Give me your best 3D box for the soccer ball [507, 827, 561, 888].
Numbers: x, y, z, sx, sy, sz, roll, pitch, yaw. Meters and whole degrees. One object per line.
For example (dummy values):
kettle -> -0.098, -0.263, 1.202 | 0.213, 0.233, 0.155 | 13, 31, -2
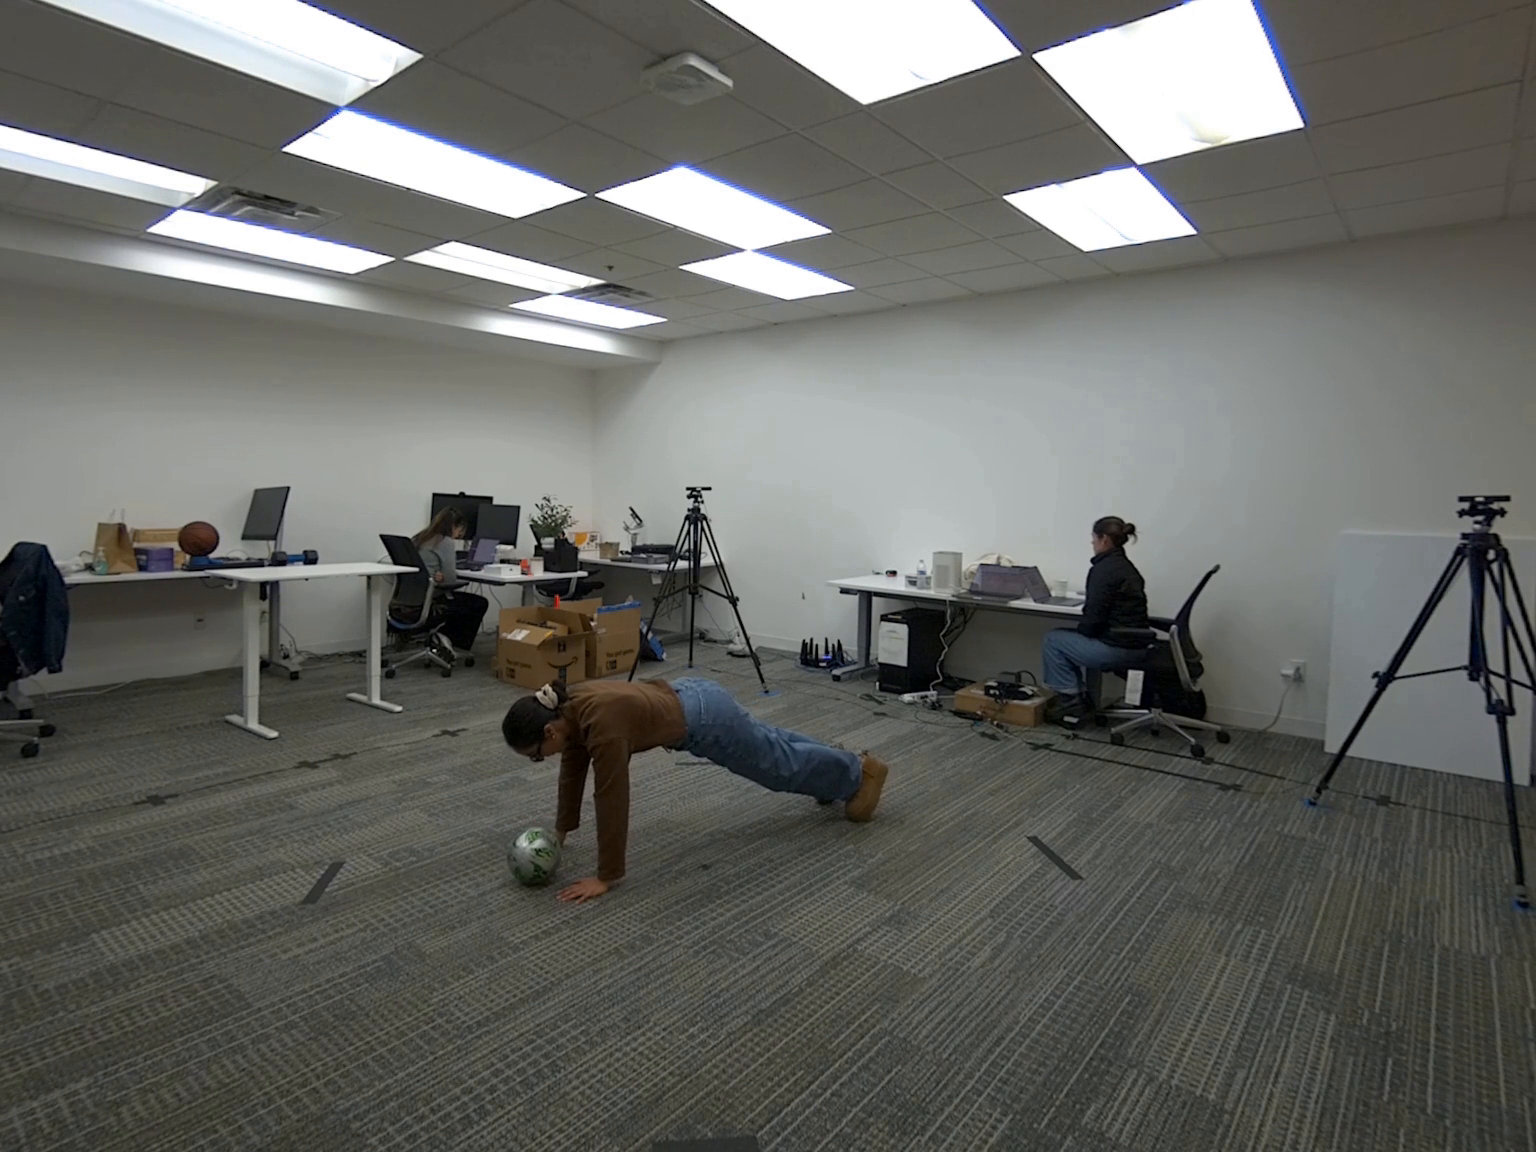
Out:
soccer ball -> -0.836, 0.981, 2.977 | 0.187, 0.187, 0.188 | 1, 4, -2
